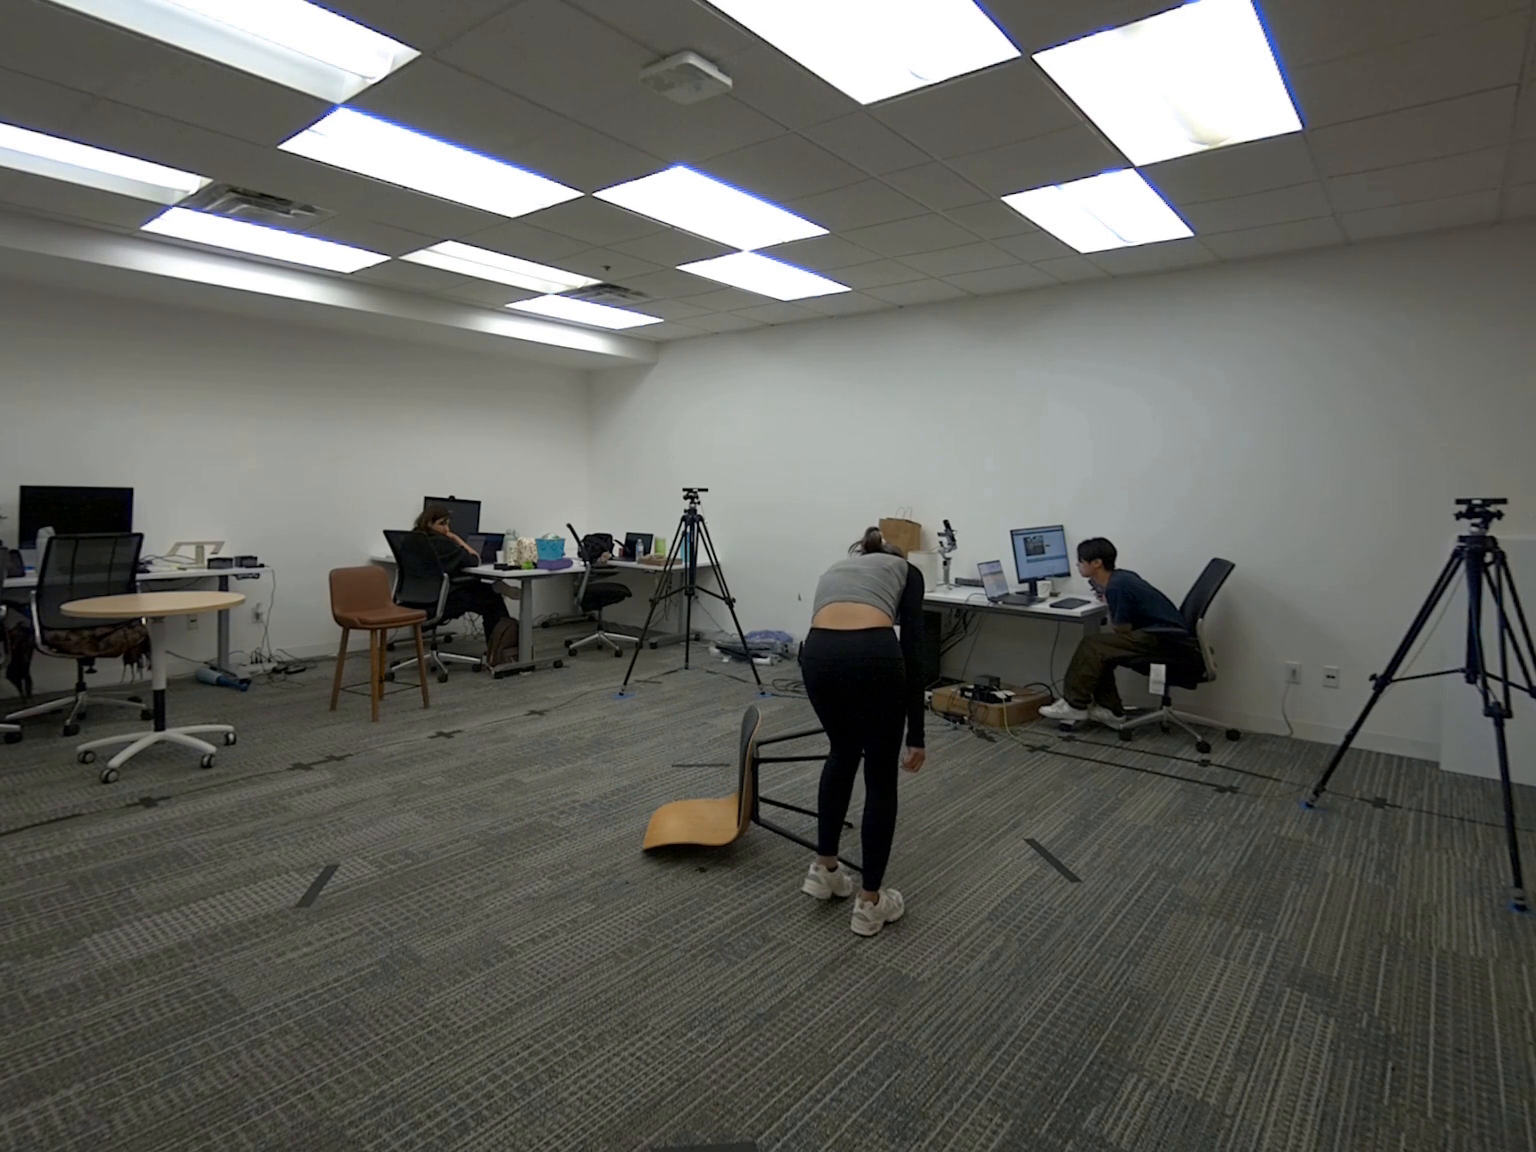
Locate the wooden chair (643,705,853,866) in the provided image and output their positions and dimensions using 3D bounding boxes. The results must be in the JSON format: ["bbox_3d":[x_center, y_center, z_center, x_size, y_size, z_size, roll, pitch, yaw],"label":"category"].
[{"bbox_3d":[-0.065,0.790,3.325,0.880,0.522,0.478,1,4,2],"label":"wooden chair"}]
